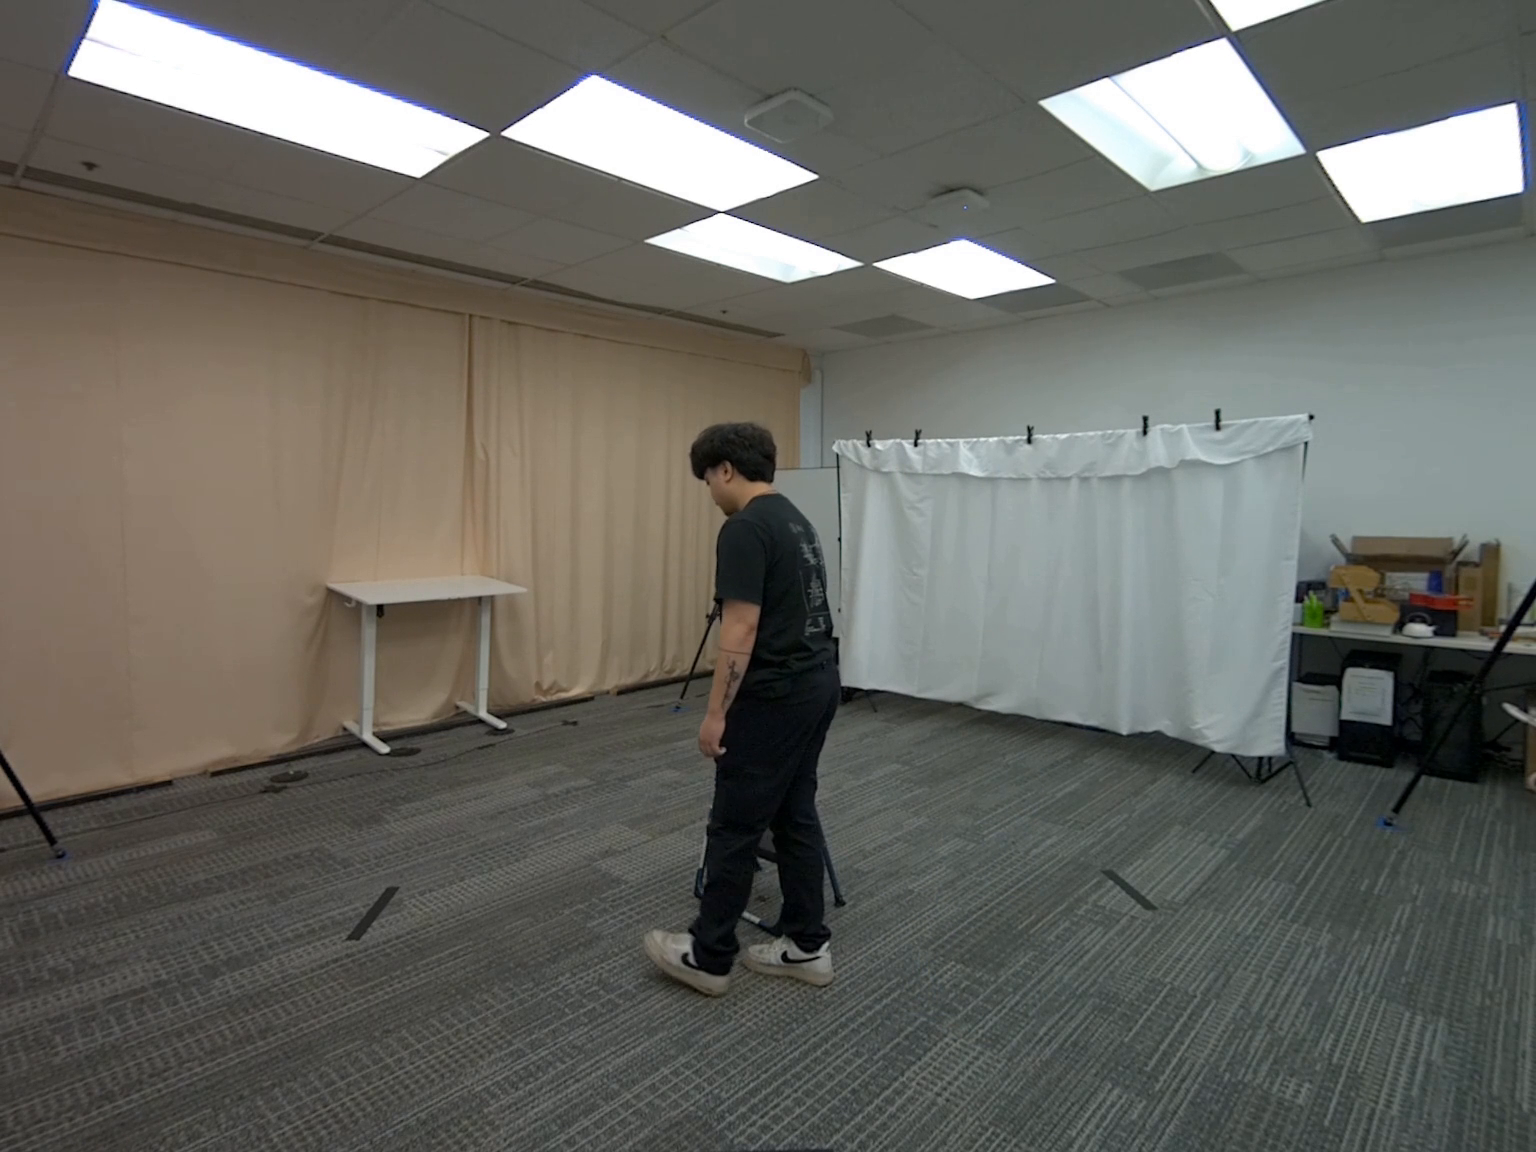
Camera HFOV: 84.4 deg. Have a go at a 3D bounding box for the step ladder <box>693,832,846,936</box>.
[{"bbox_3d":[0.004,0.842,2.956,0.445,0.605,0.338,4,5,43],"label":"step ladder"}]
